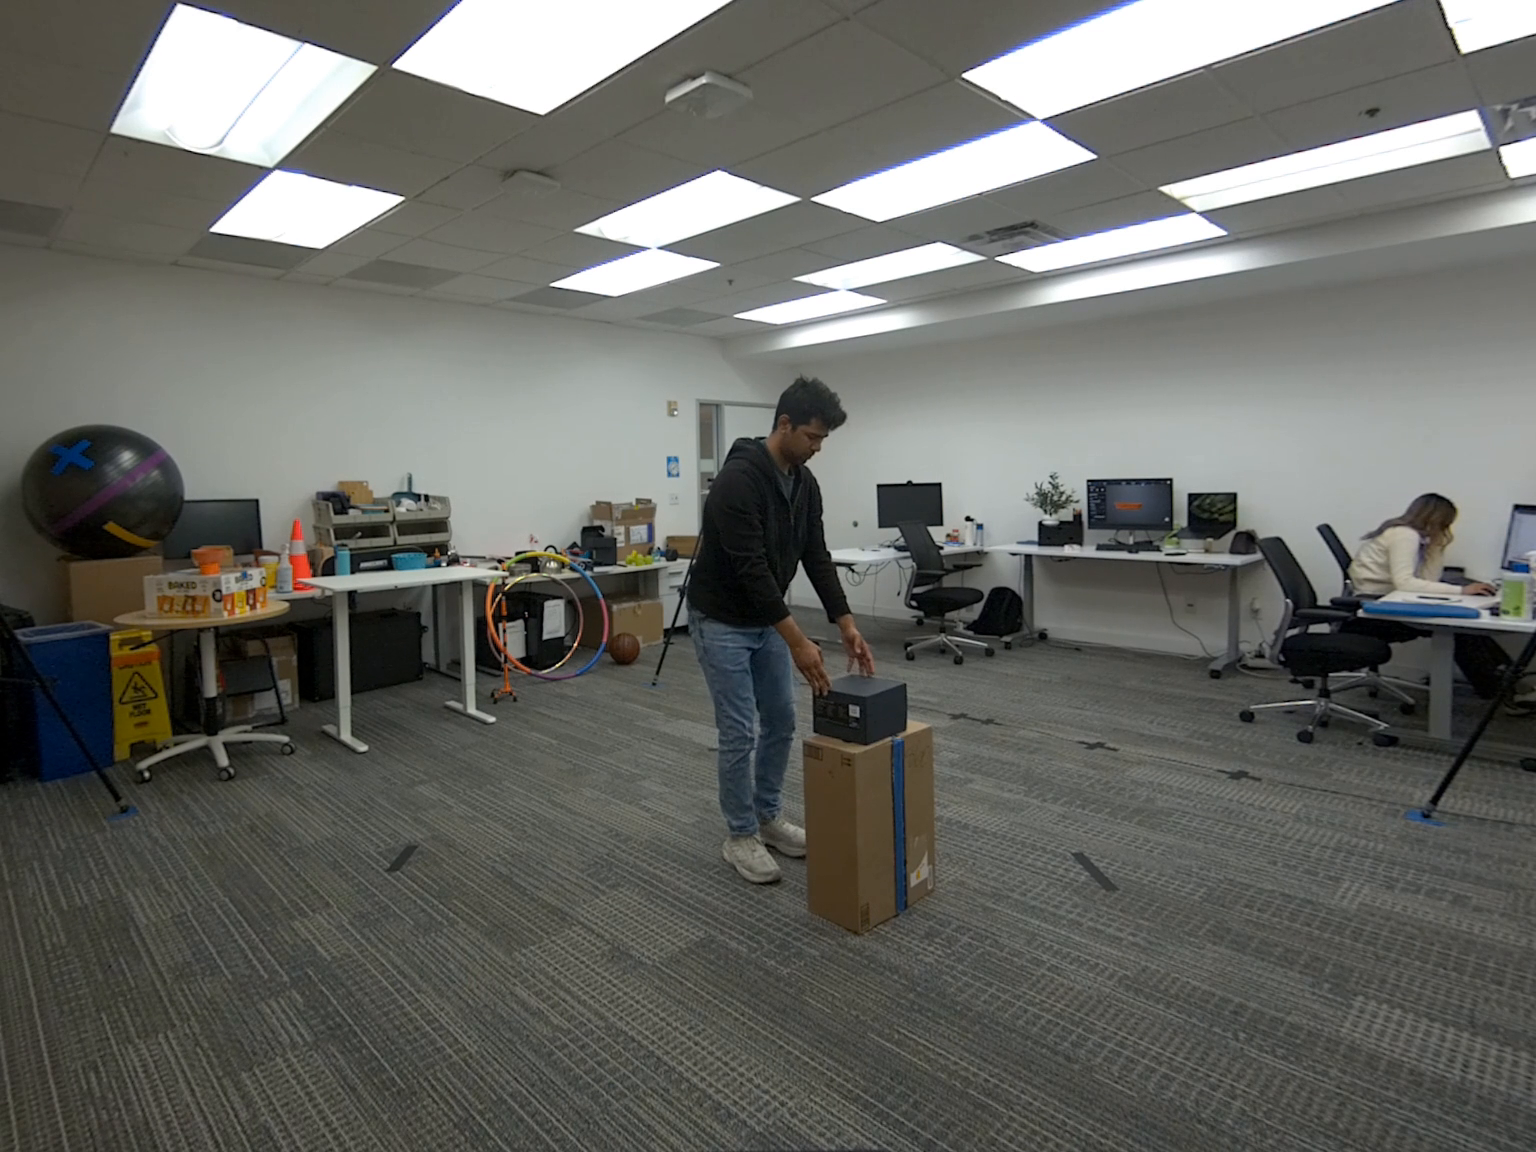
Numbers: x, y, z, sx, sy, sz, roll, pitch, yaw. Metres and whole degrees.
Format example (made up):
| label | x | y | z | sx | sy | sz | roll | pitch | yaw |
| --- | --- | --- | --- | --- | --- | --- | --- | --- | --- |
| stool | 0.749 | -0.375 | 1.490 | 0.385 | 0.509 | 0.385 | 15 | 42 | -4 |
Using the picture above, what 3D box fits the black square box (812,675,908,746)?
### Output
| label | x | y | z | sx | sy | sz | roll | pitch | yaw |
| --- | --- | --- | --- | --- | --- | --- | --- | --- | --- |
| black square box | 0.303 | 0.420 | 2.789 | 0.223 | 0.155 | 0.222 | 2 | 5 | 43 |
